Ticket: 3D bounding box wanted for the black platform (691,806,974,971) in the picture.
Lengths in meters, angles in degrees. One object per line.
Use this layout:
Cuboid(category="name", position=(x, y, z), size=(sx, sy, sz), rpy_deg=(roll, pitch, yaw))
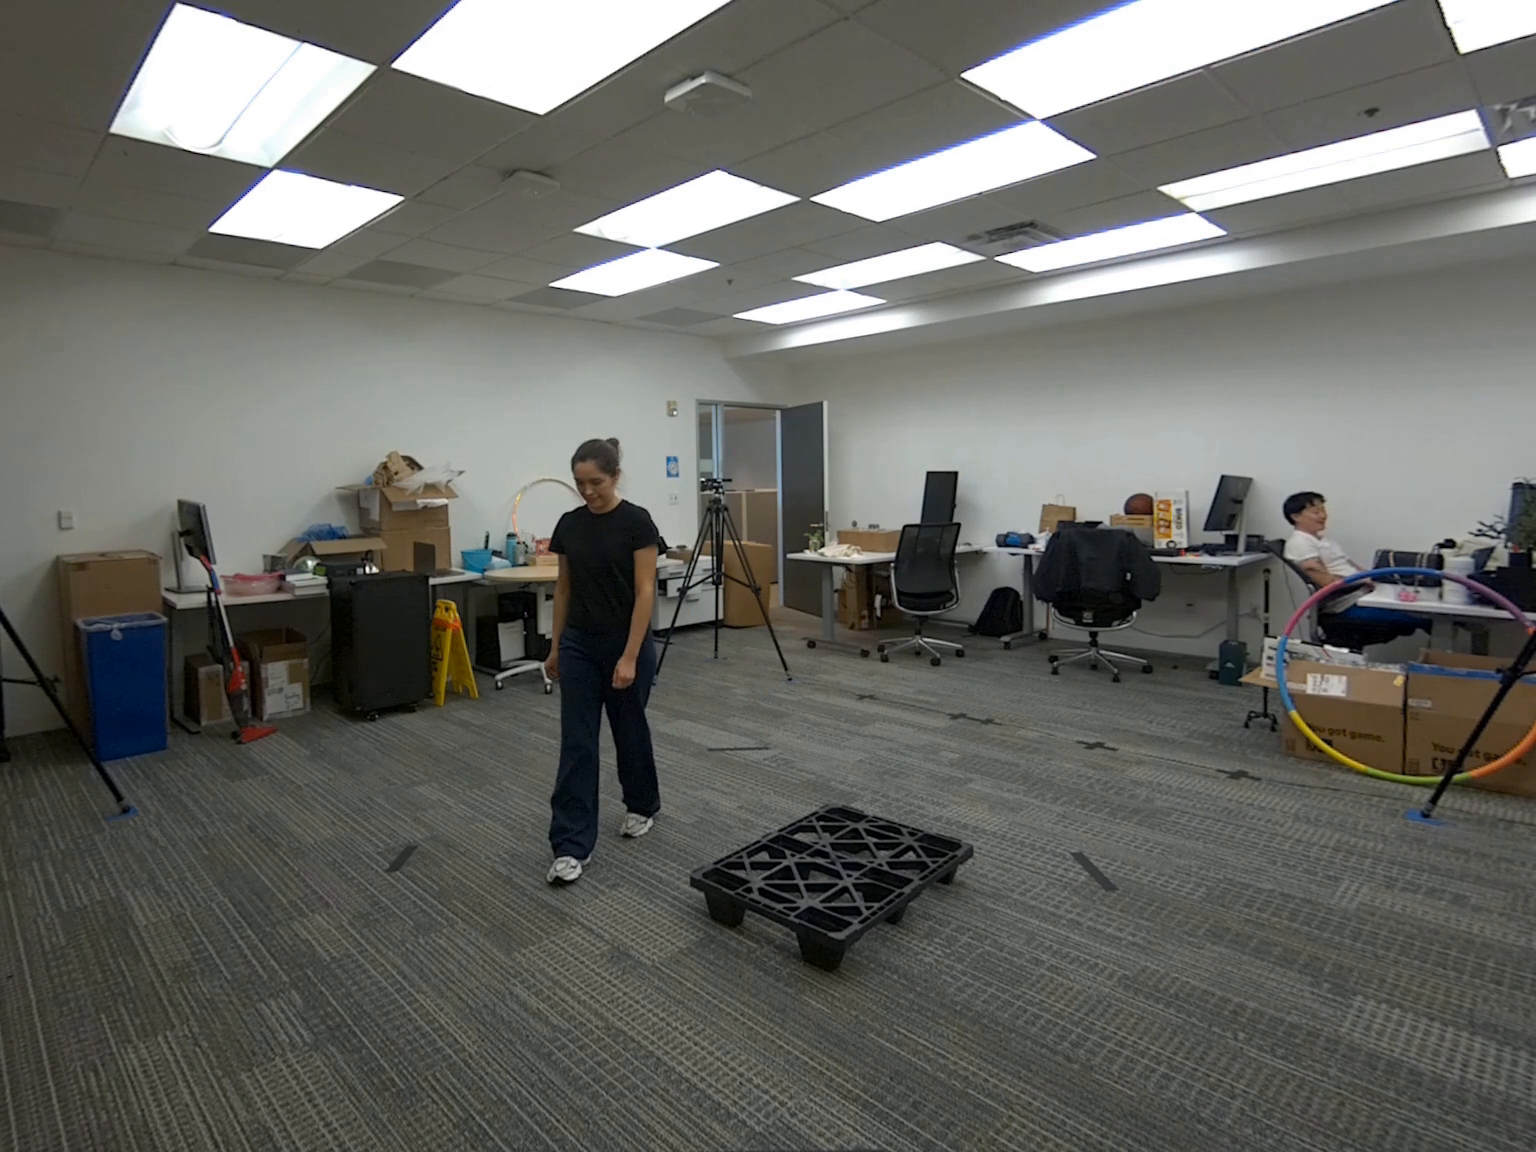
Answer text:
Cuboid(category="black platform", position=(0.231, 1.004, 2.844), size=(0.624, 0.142, 0.785), rpy_deg=(5, 9, 41))
